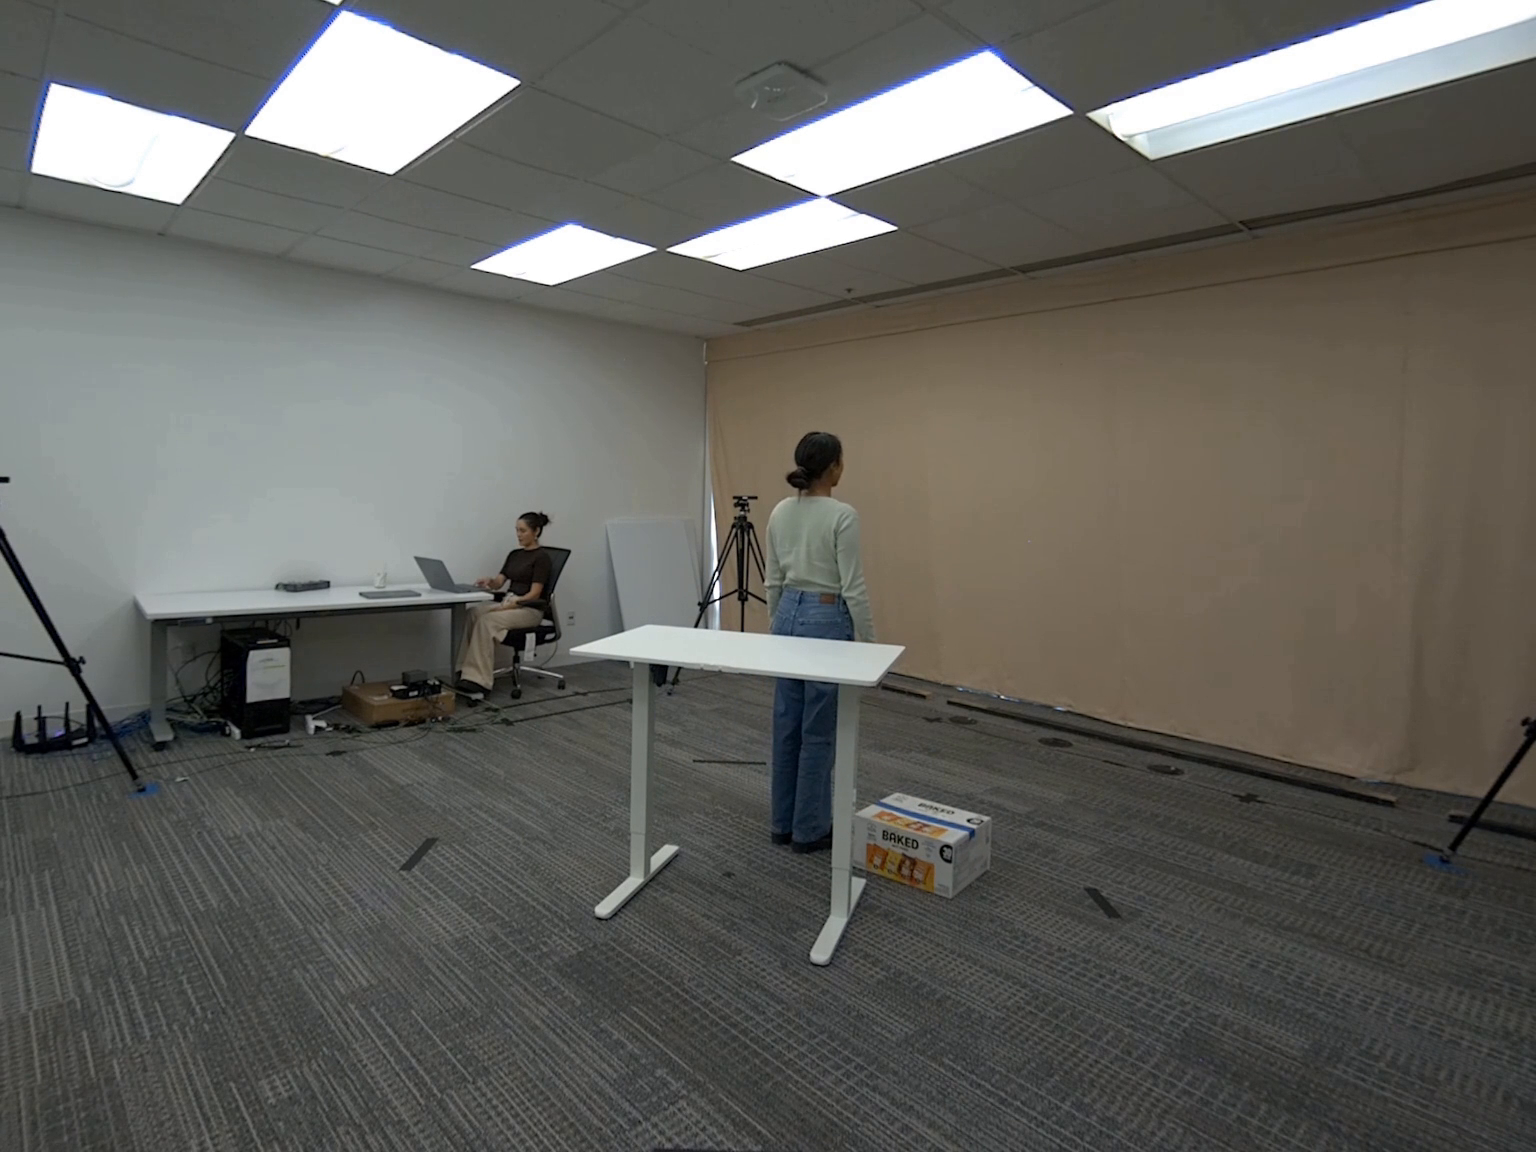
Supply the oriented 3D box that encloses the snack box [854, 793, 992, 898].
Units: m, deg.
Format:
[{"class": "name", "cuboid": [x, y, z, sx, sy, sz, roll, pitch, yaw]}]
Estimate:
[{"class": "snack box", "cuboid": [0.576, 1.012, 3.196, 0.415, 0.205, 0.333, 5, 6, 38]}]
